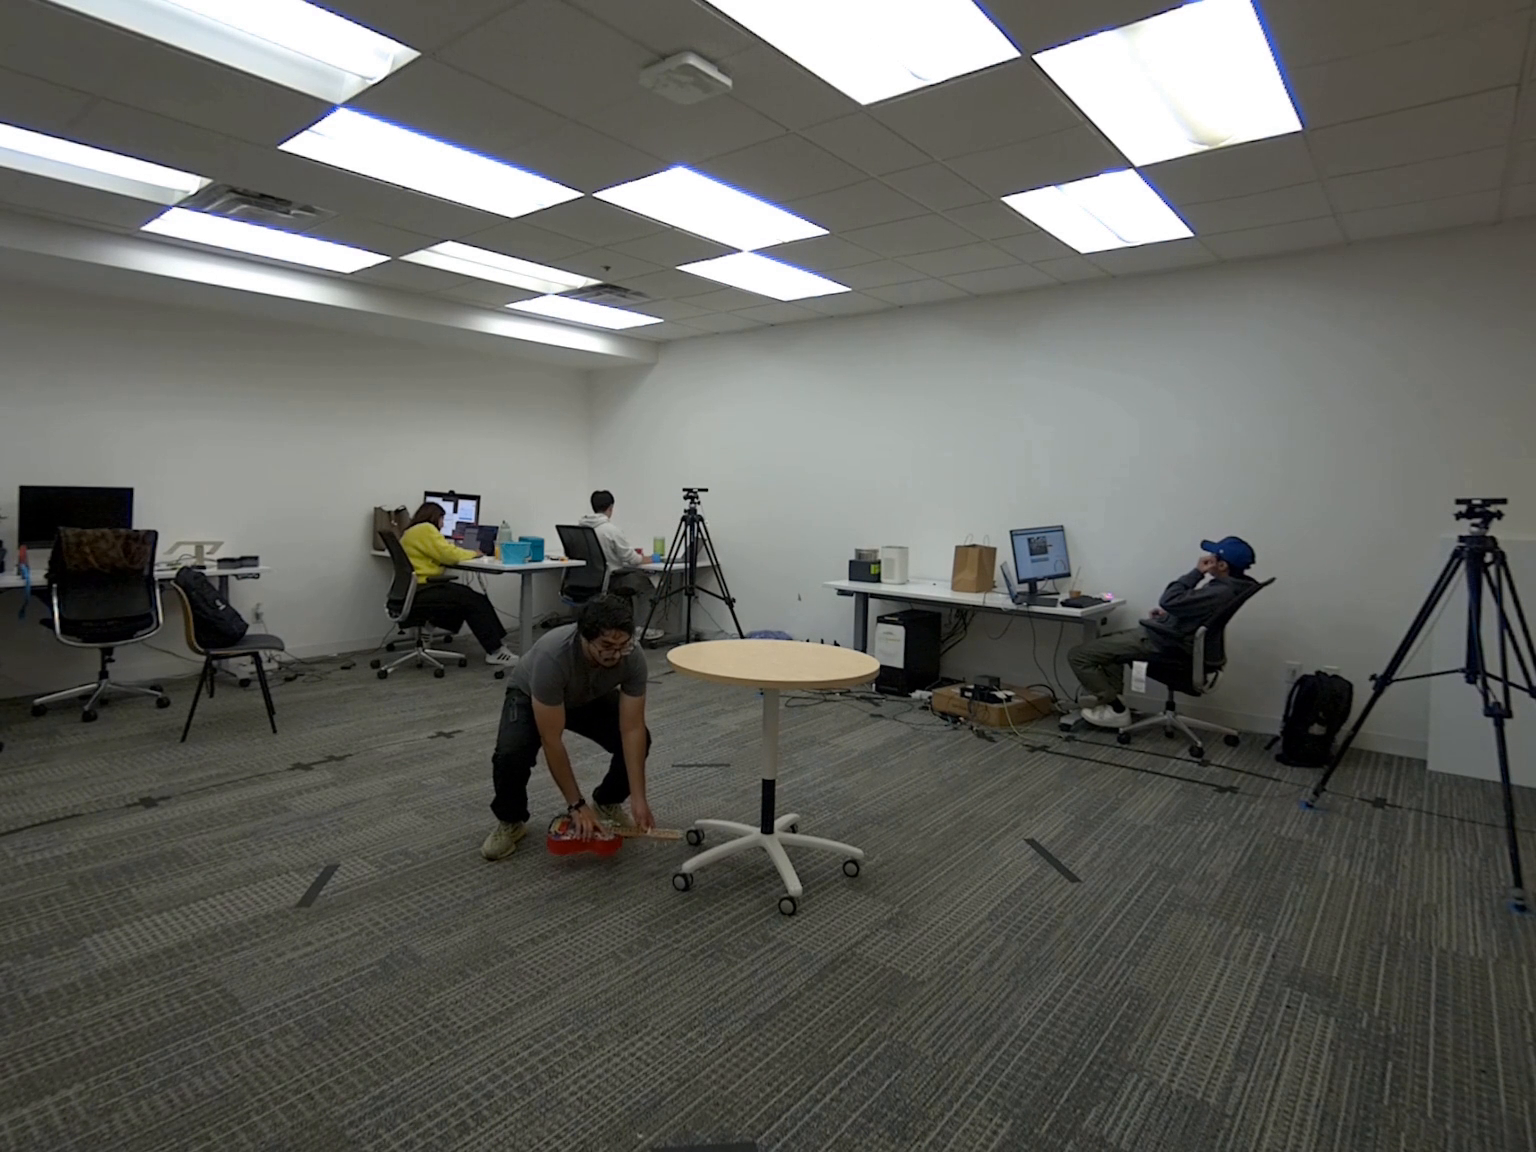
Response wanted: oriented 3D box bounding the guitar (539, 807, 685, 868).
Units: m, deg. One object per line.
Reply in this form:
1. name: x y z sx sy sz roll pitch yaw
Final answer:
1. guitar: -0.572 0.956 3.096 0.503 0.070 0.193 4 11 8
